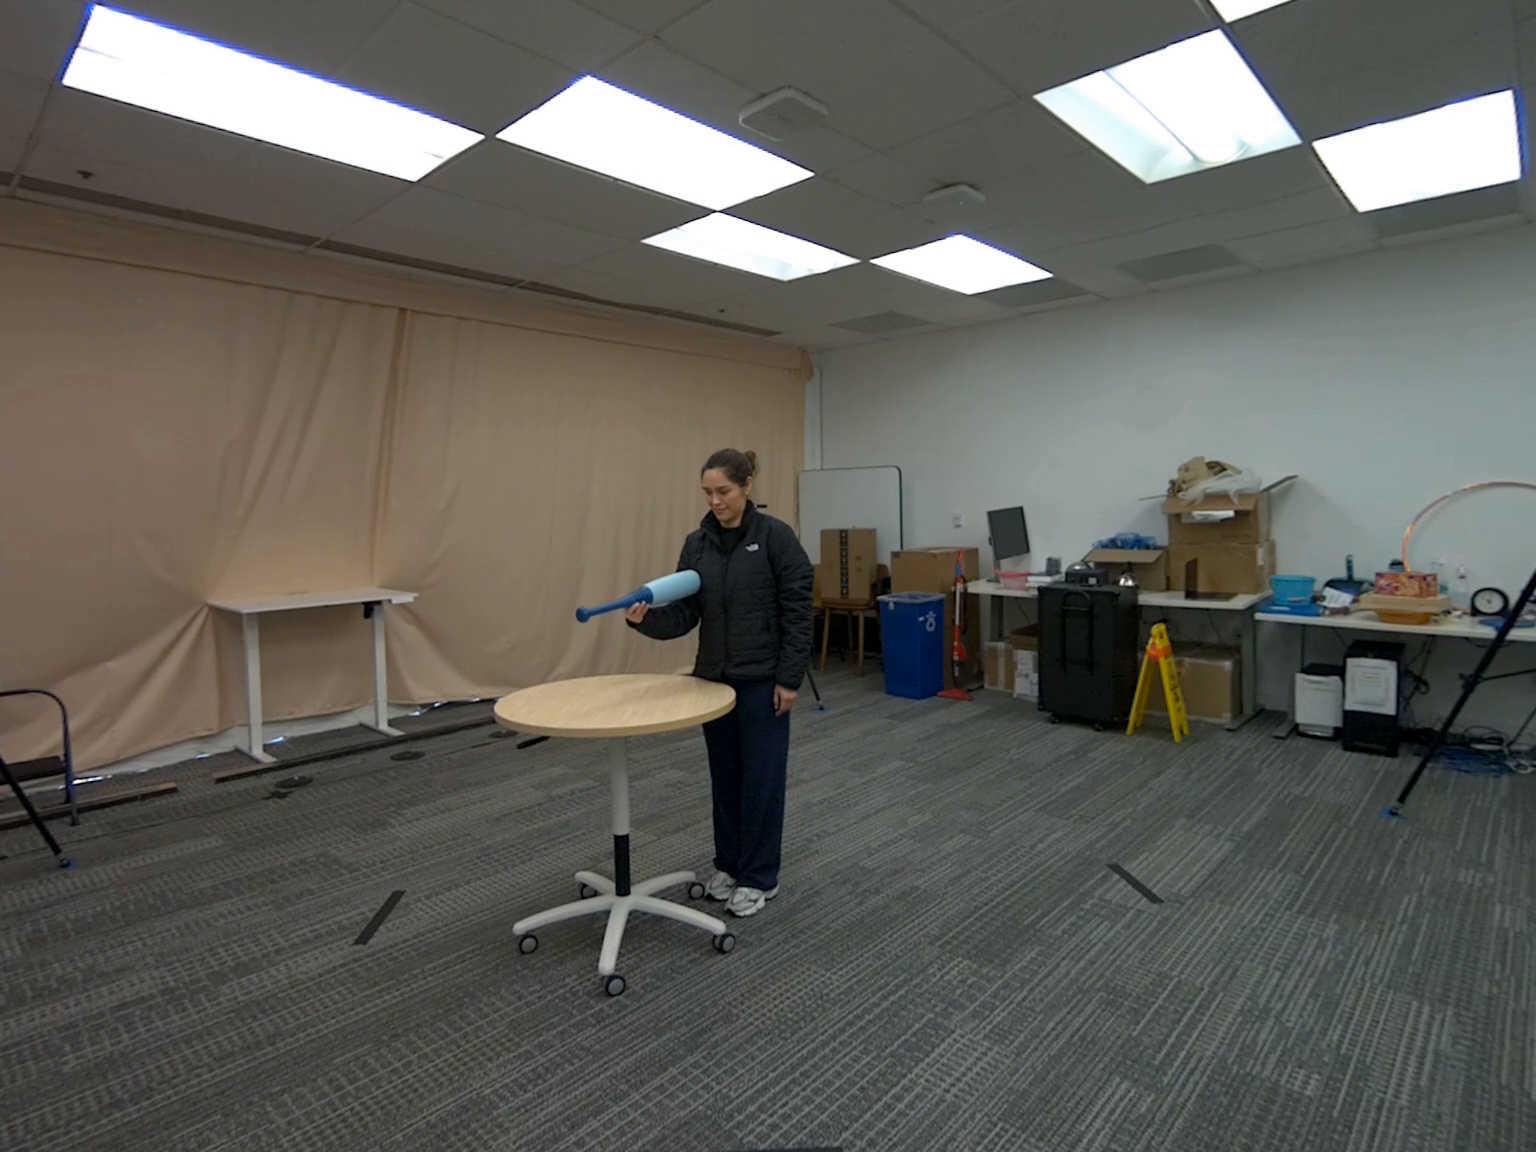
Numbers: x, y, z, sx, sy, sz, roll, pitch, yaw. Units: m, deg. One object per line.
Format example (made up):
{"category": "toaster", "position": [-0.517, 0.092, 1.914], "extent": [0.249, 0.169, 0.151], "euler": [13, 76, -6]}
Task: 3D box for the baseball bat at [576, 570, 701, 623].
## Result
{"category": "baseball bat", "position": [-0.401, 0.073, 2.750], "extent": [0.092, 0.088, 0.529], "euler": [2, 13, 37]}
